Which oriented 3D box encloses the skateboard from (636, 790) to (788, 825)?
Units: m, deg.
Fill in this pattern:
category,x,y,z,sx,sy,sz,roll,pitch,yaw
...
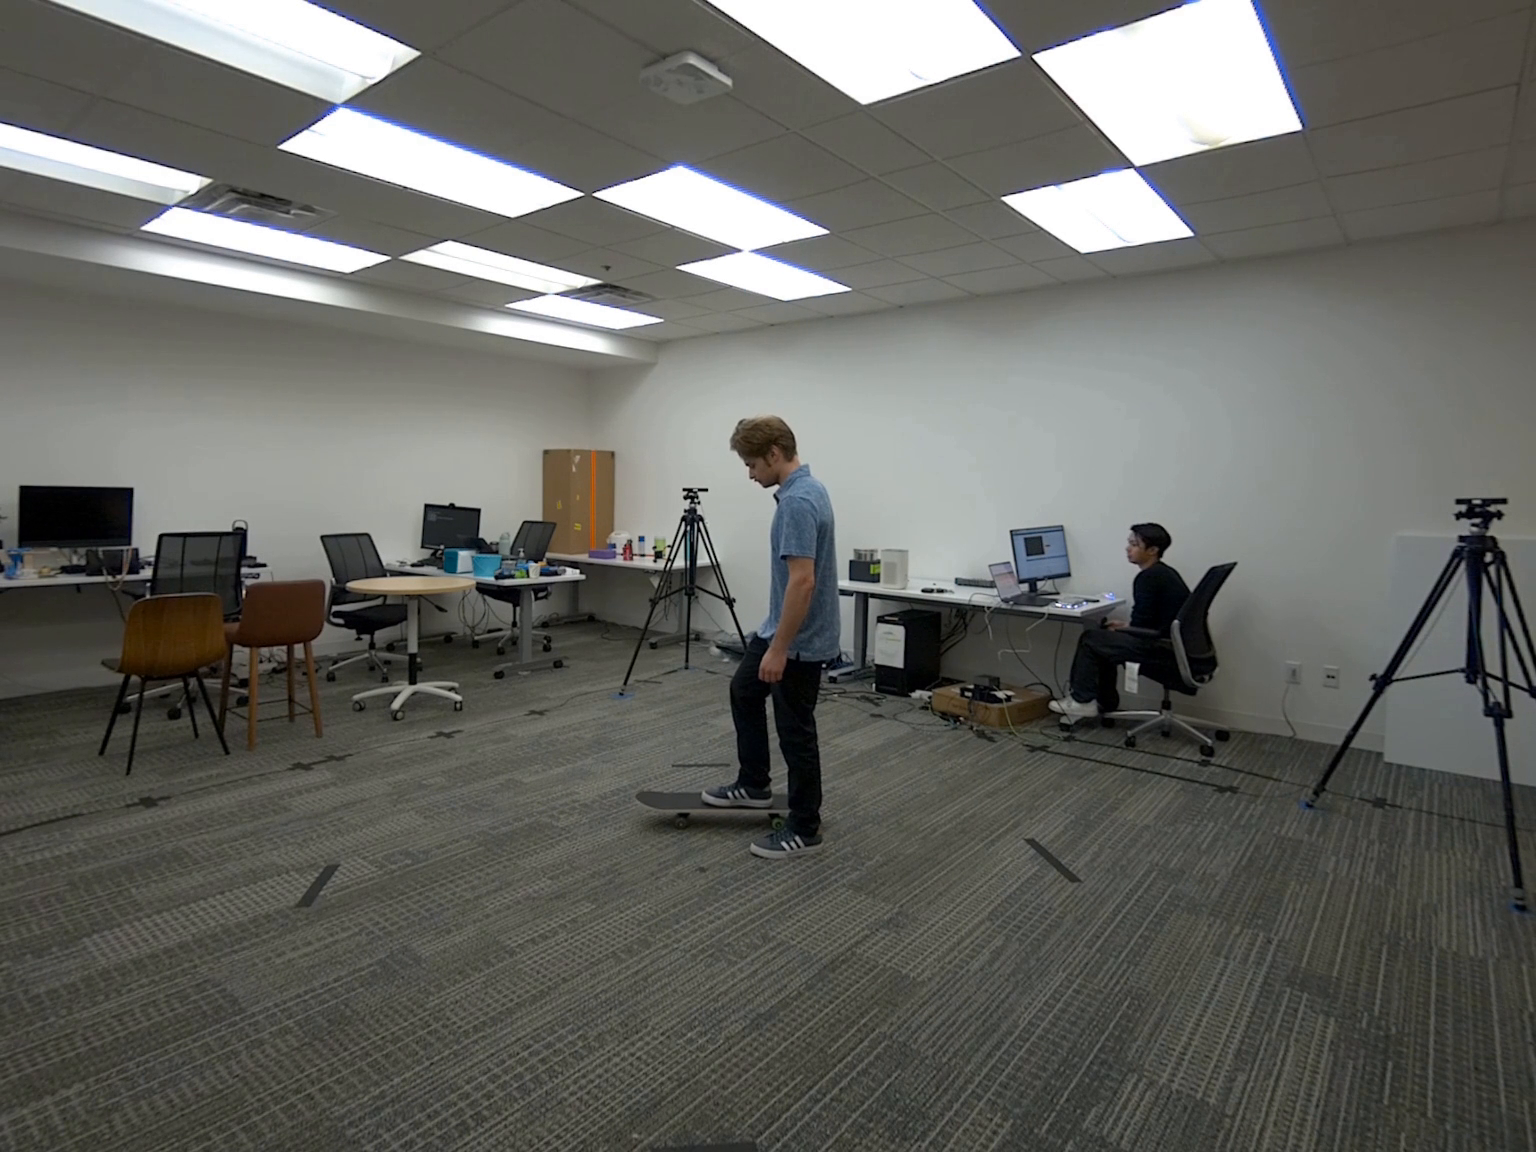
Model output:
category,x,y,z,sx,sy,sz,roll,pitch,yaw
skateboard,-0.184,0.965,3.553,0.783,0.110,0.195,1,7,-2
